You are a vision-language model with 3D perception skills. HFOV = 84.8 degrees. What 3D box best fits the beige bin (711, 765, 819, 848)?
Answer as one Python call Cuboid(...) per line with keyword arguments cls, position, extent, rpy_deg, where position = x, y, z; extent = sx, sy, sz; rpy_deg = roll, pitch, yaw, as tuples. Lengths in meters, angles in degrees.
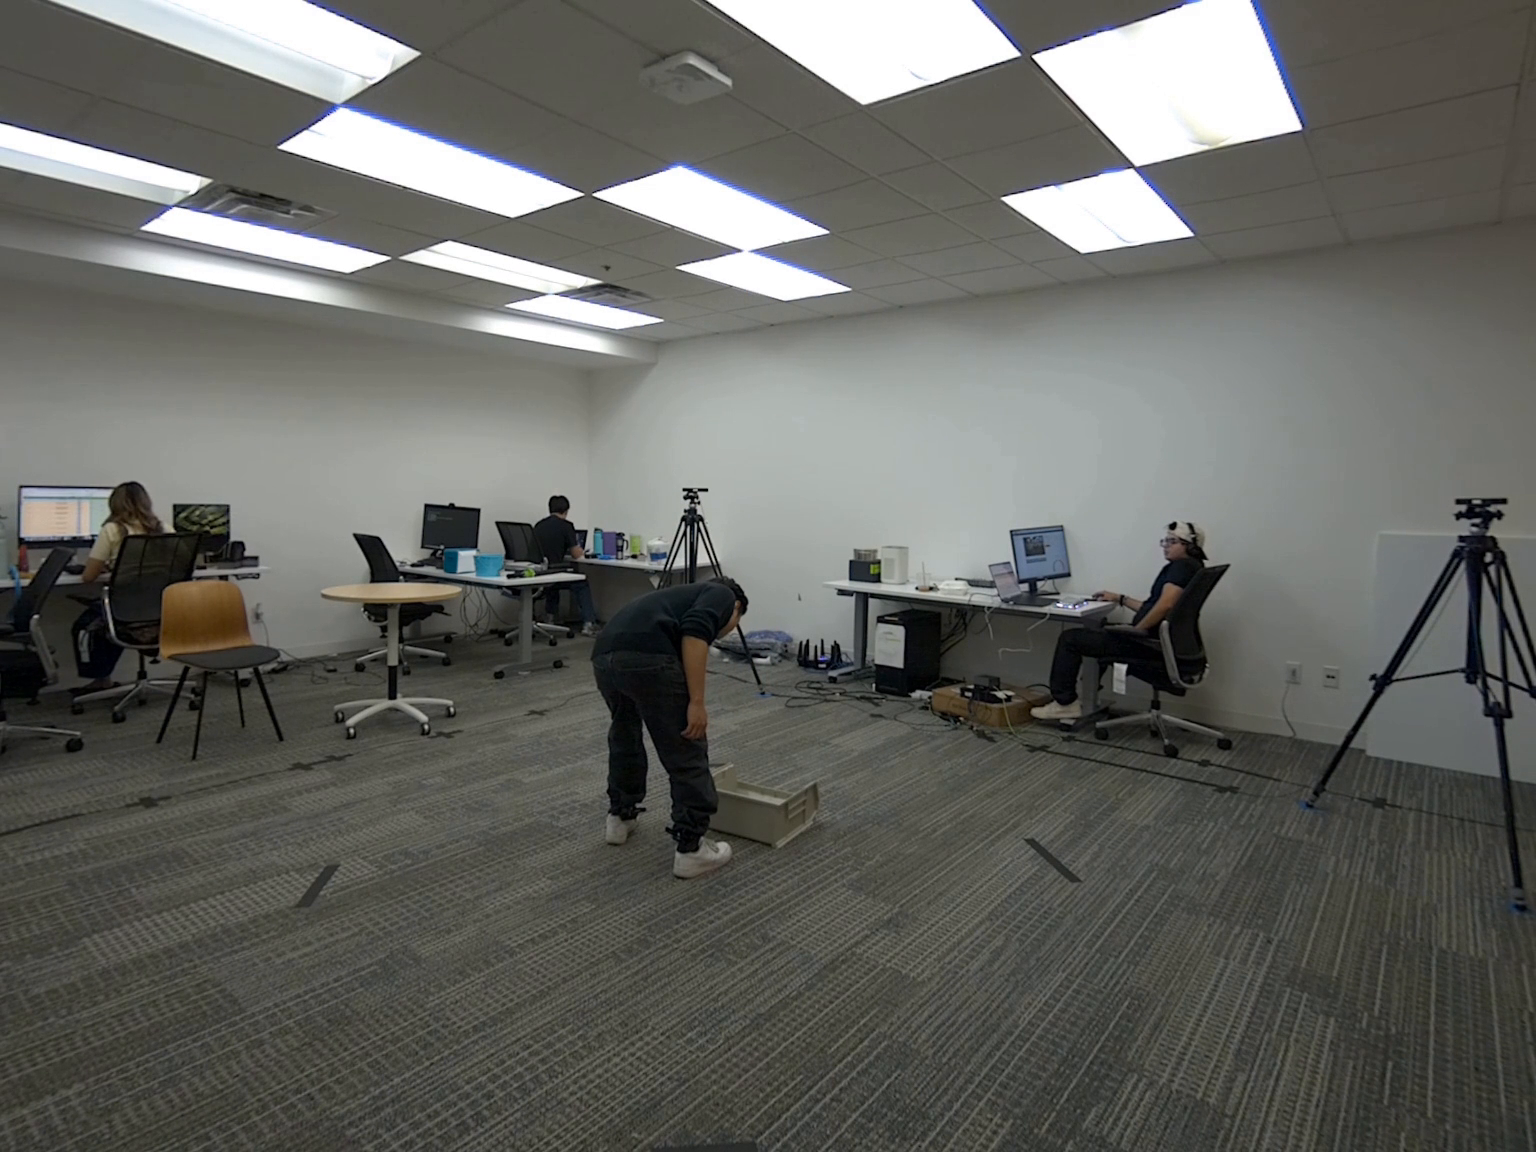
Cuboid(cls="beige bin", position=(-0.058, 0.943, 3.555), extent=(0.435, 0.188, 0.368), rpy_deg=(4, 7, 30))
